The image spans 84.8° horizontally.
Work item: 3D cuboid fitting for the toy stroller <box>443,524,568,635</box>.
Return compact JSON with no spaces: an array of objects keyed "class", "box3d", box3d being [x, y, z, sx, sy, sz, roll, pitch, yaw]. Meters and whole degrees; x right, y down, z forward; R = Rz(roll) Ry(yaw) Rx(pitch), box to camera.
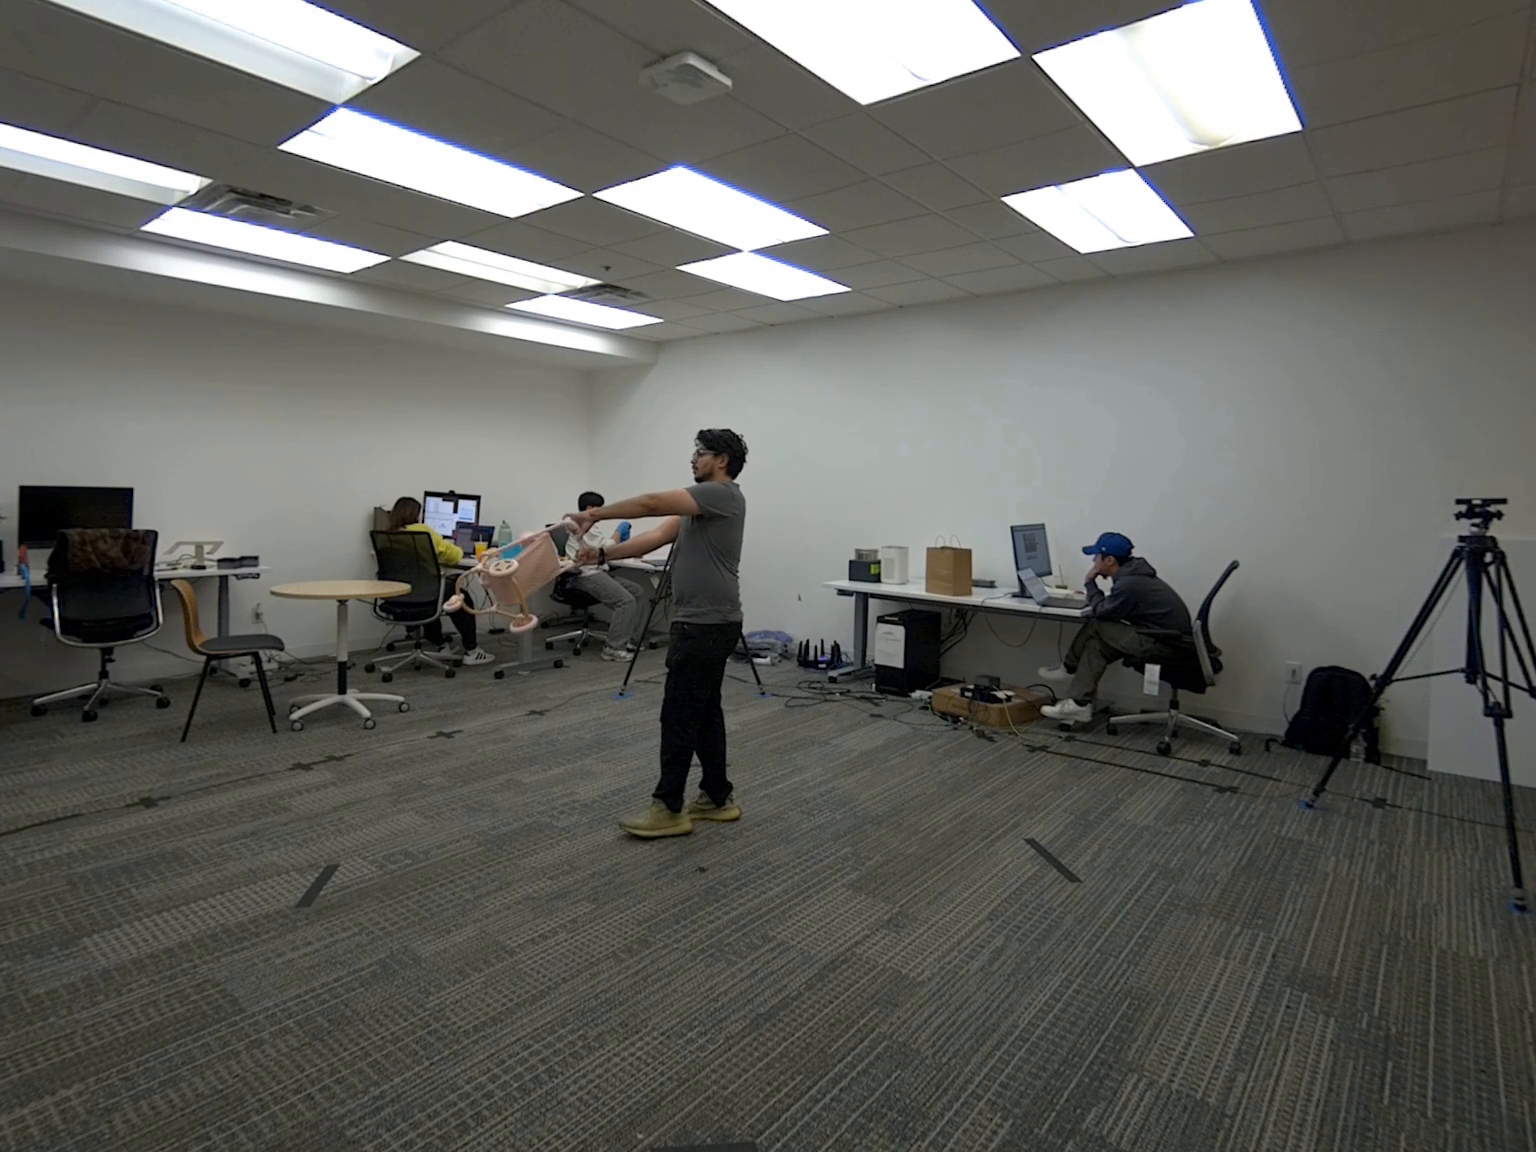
[{"class":"toy stroller","box3d":[-1.000,-0.002,3.329,0.350,0.273,0.538,-3,32,27]}]
